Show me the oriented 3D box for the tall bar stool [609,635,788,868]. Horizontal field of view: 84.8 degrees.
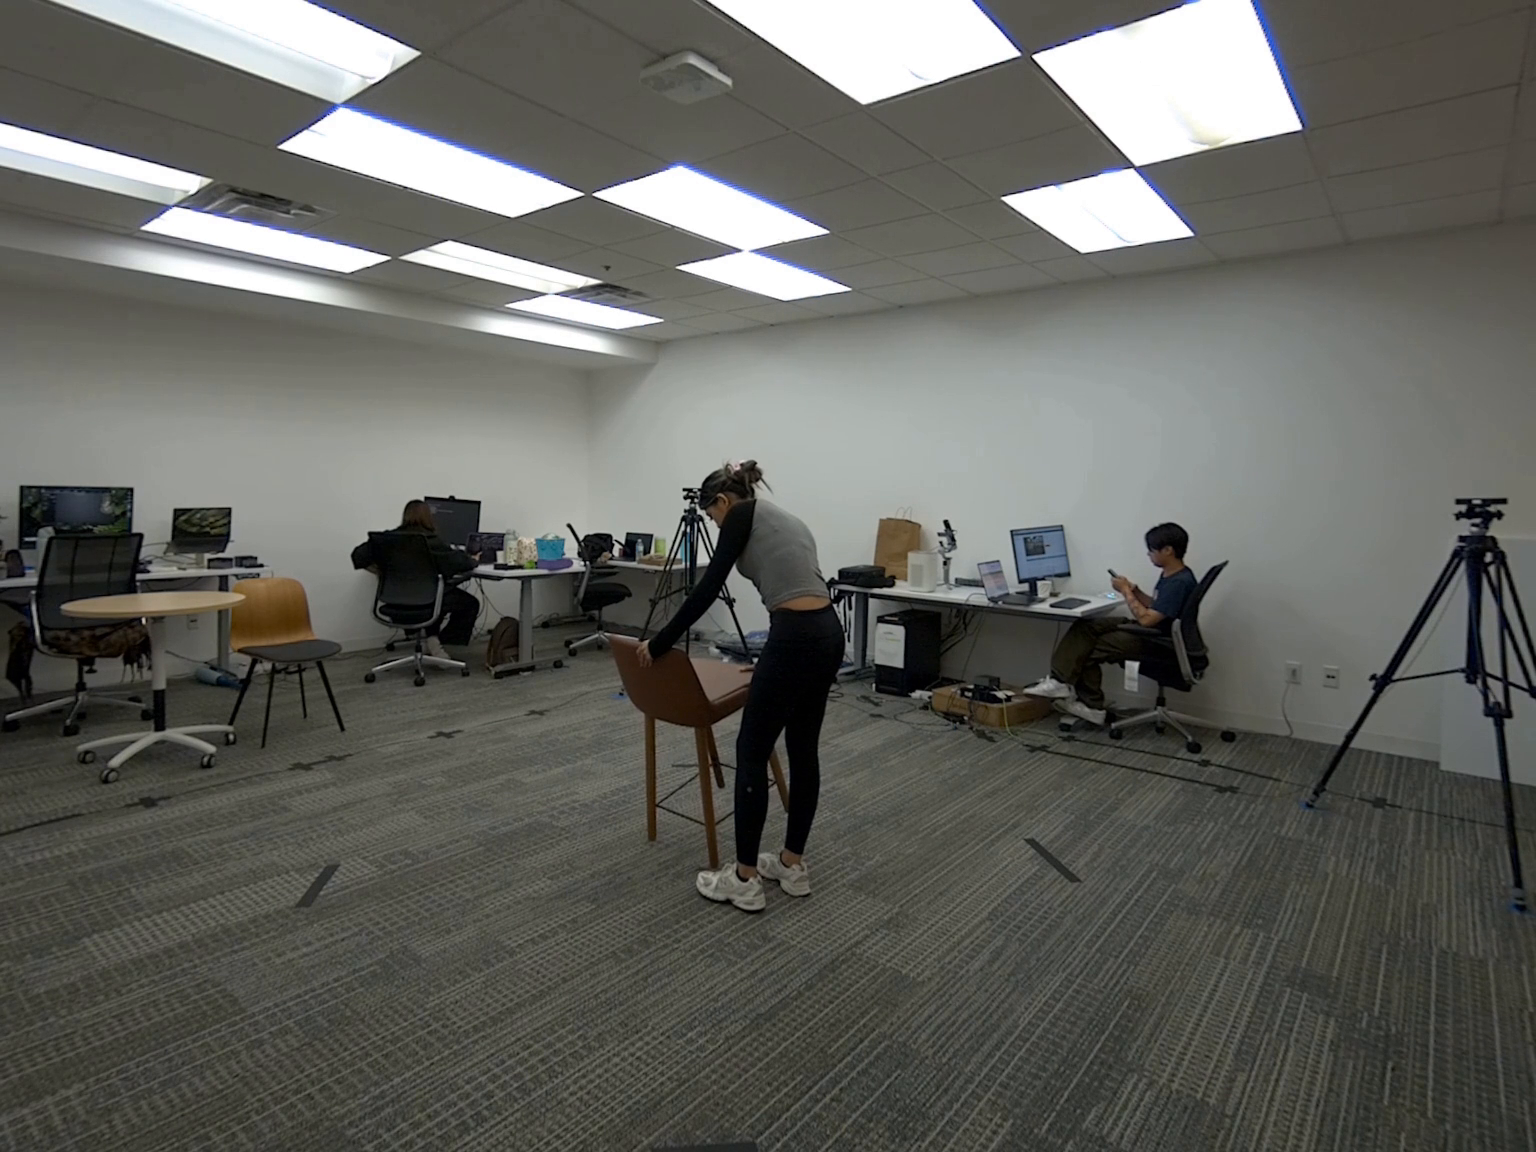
[{"bbox_3d":[-0.279,0.575,3.294,0.472,0.875,0.460,4,21,43],"label":"tall bar stool"}]
